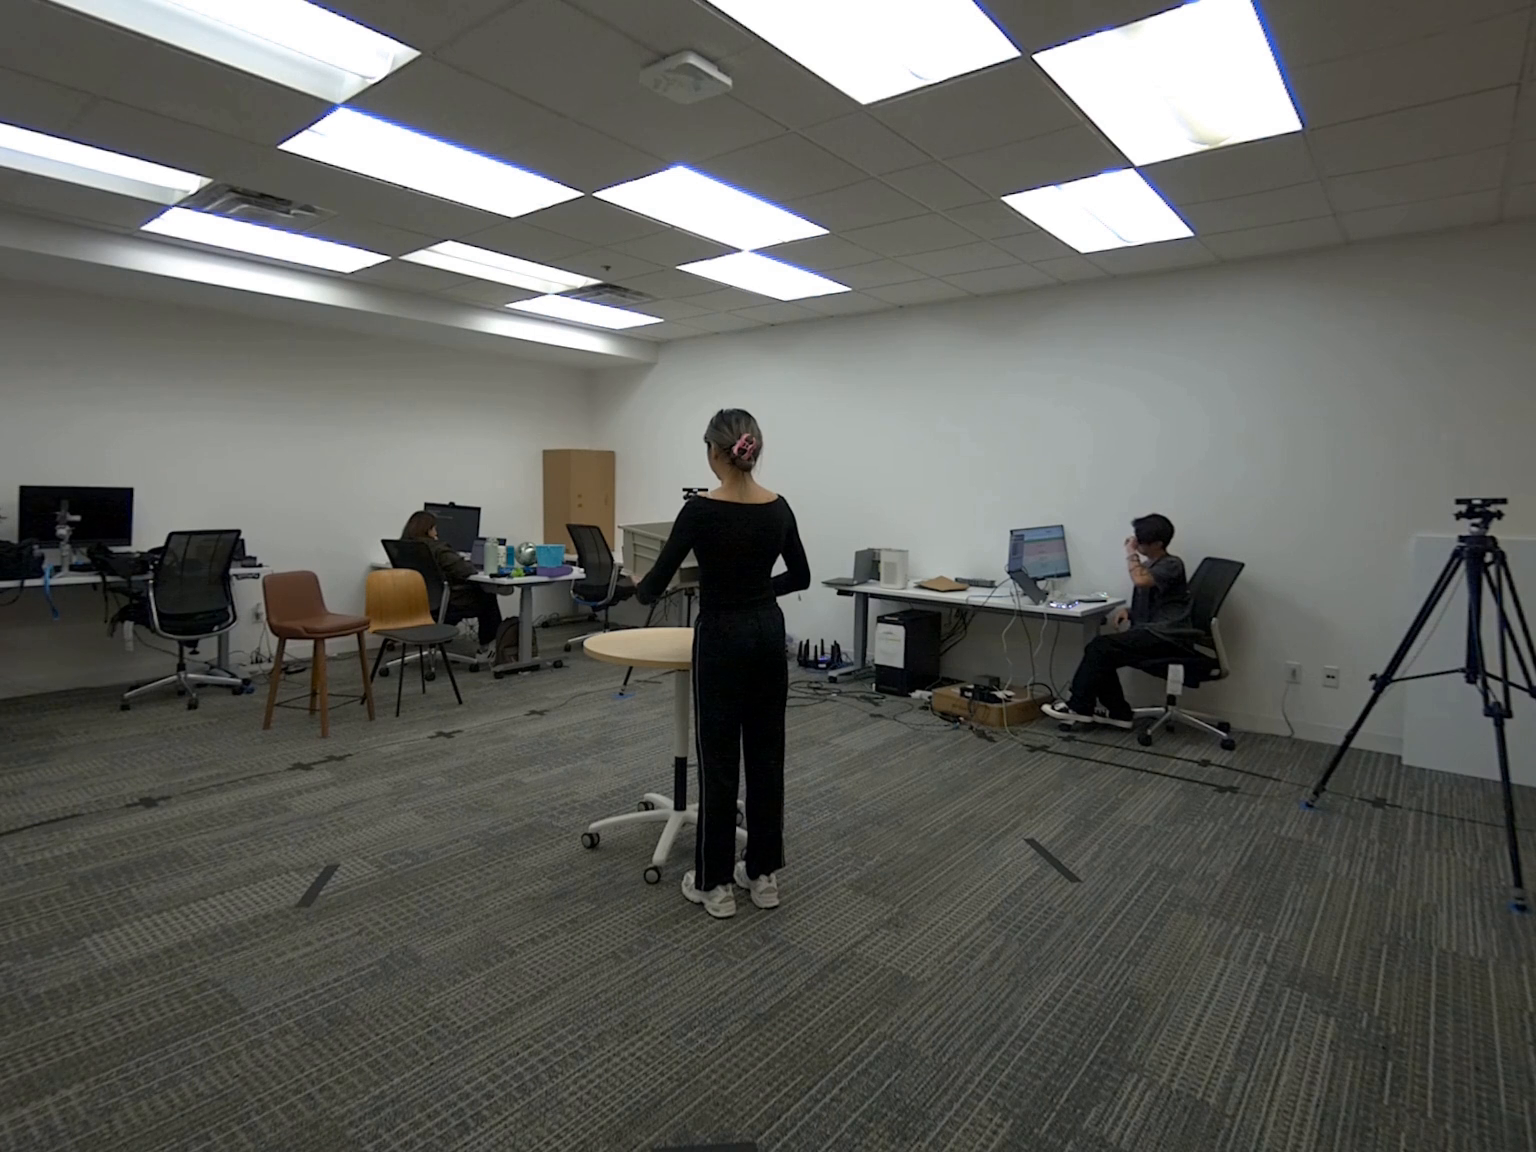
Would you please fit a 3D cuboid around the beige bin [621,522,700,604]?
[{"bbox_3d":[-0.275,-0.082,3.083,0.411,0.187,0.391,-8,14,-40],"label":"beige bin"}]
